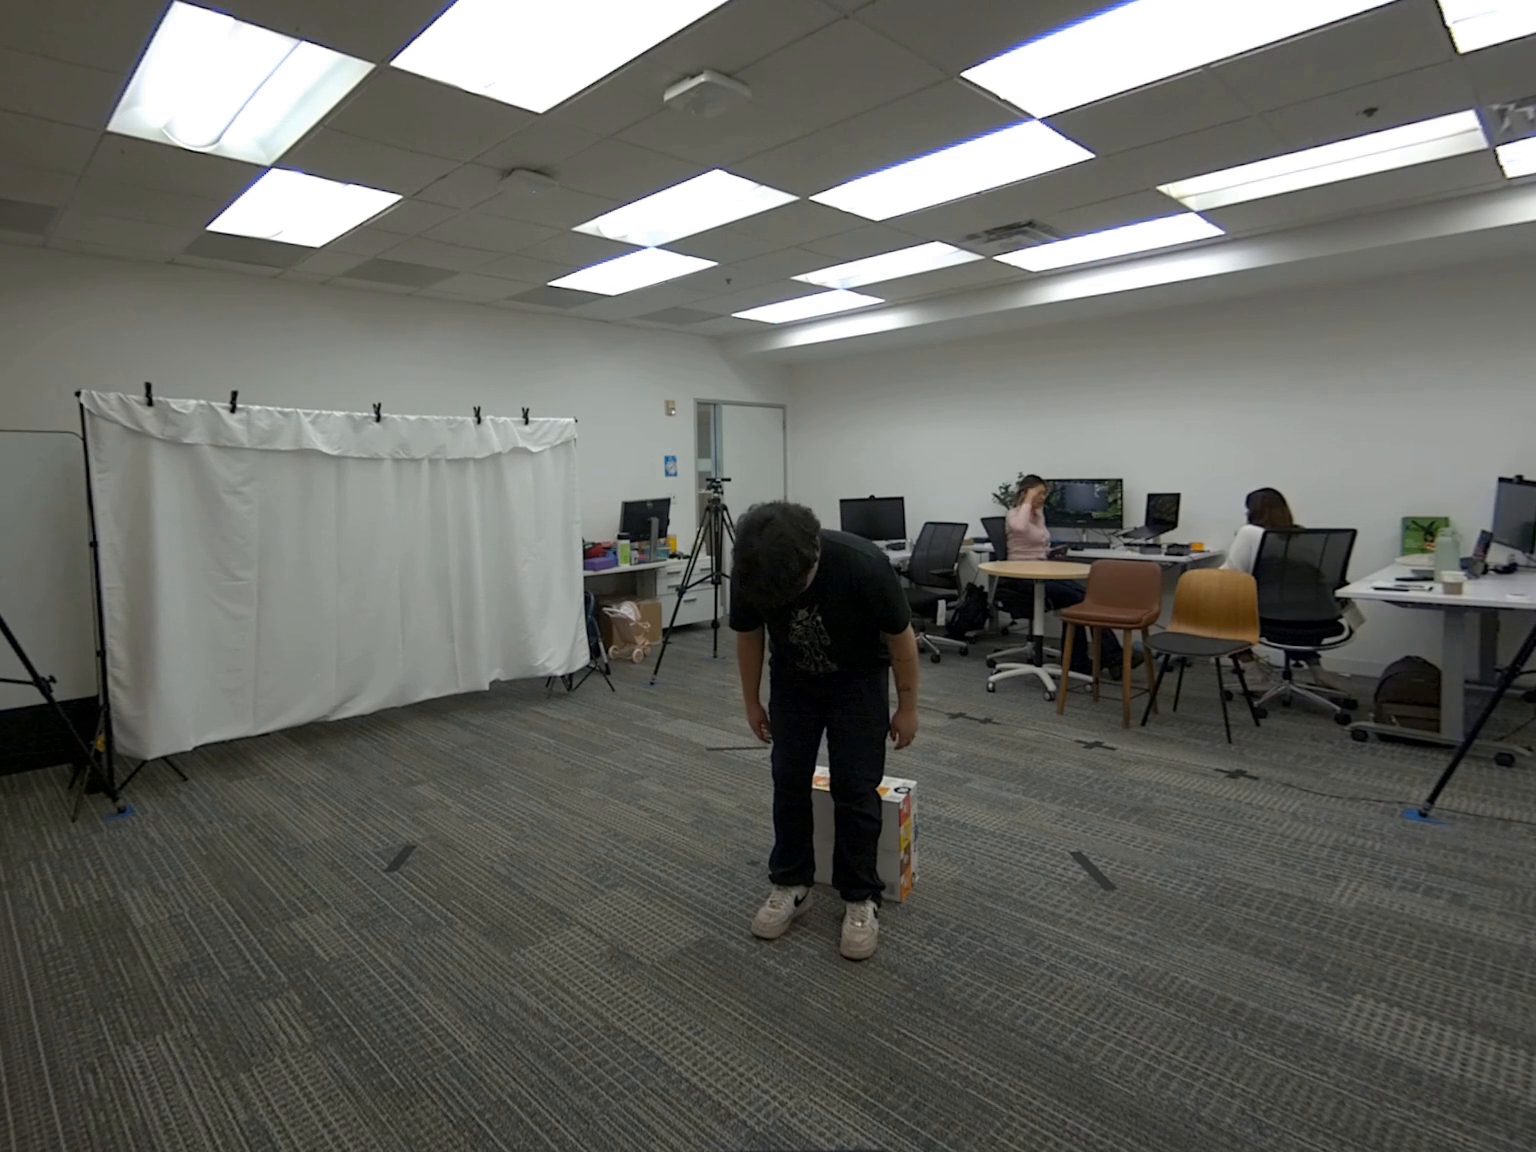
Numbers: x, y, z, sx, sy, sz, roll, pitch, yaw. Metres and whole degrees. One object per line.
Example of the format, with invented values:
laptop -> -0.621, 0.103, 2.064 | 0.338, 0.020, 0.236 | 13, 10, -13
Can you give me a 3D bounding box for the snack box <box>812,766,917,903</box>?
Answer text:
snack box -> 0.296, 0.879, 2.964 | 0.415, 0.339, 0.201 | 1, 5, 28
